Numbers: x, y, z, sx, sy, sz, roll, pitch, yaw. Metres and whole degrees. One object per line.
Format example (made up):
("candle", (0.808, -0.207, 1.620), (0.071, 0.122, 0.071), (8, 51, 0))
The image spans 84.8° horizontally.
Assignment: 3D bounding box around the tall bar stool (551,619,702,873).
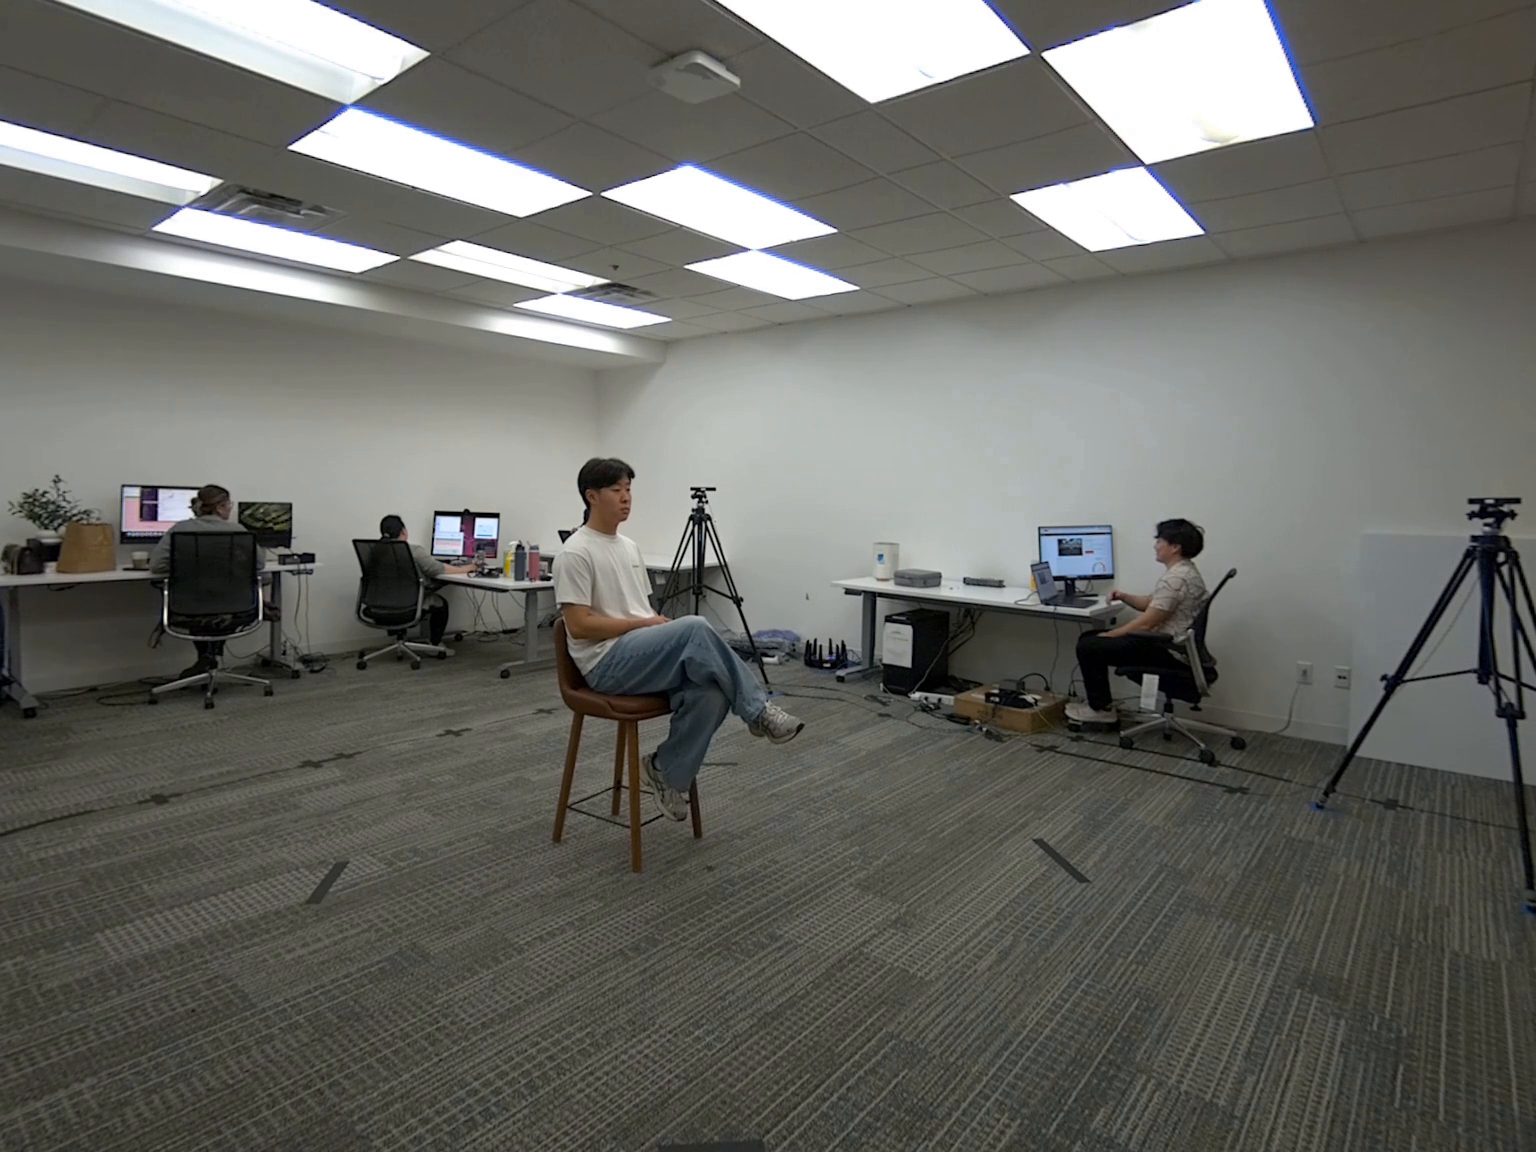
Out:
("tall bar stool", (-0.570, 0.605, 3.343), (0.481, 0.889, 0.443), (0, 1, 33))
